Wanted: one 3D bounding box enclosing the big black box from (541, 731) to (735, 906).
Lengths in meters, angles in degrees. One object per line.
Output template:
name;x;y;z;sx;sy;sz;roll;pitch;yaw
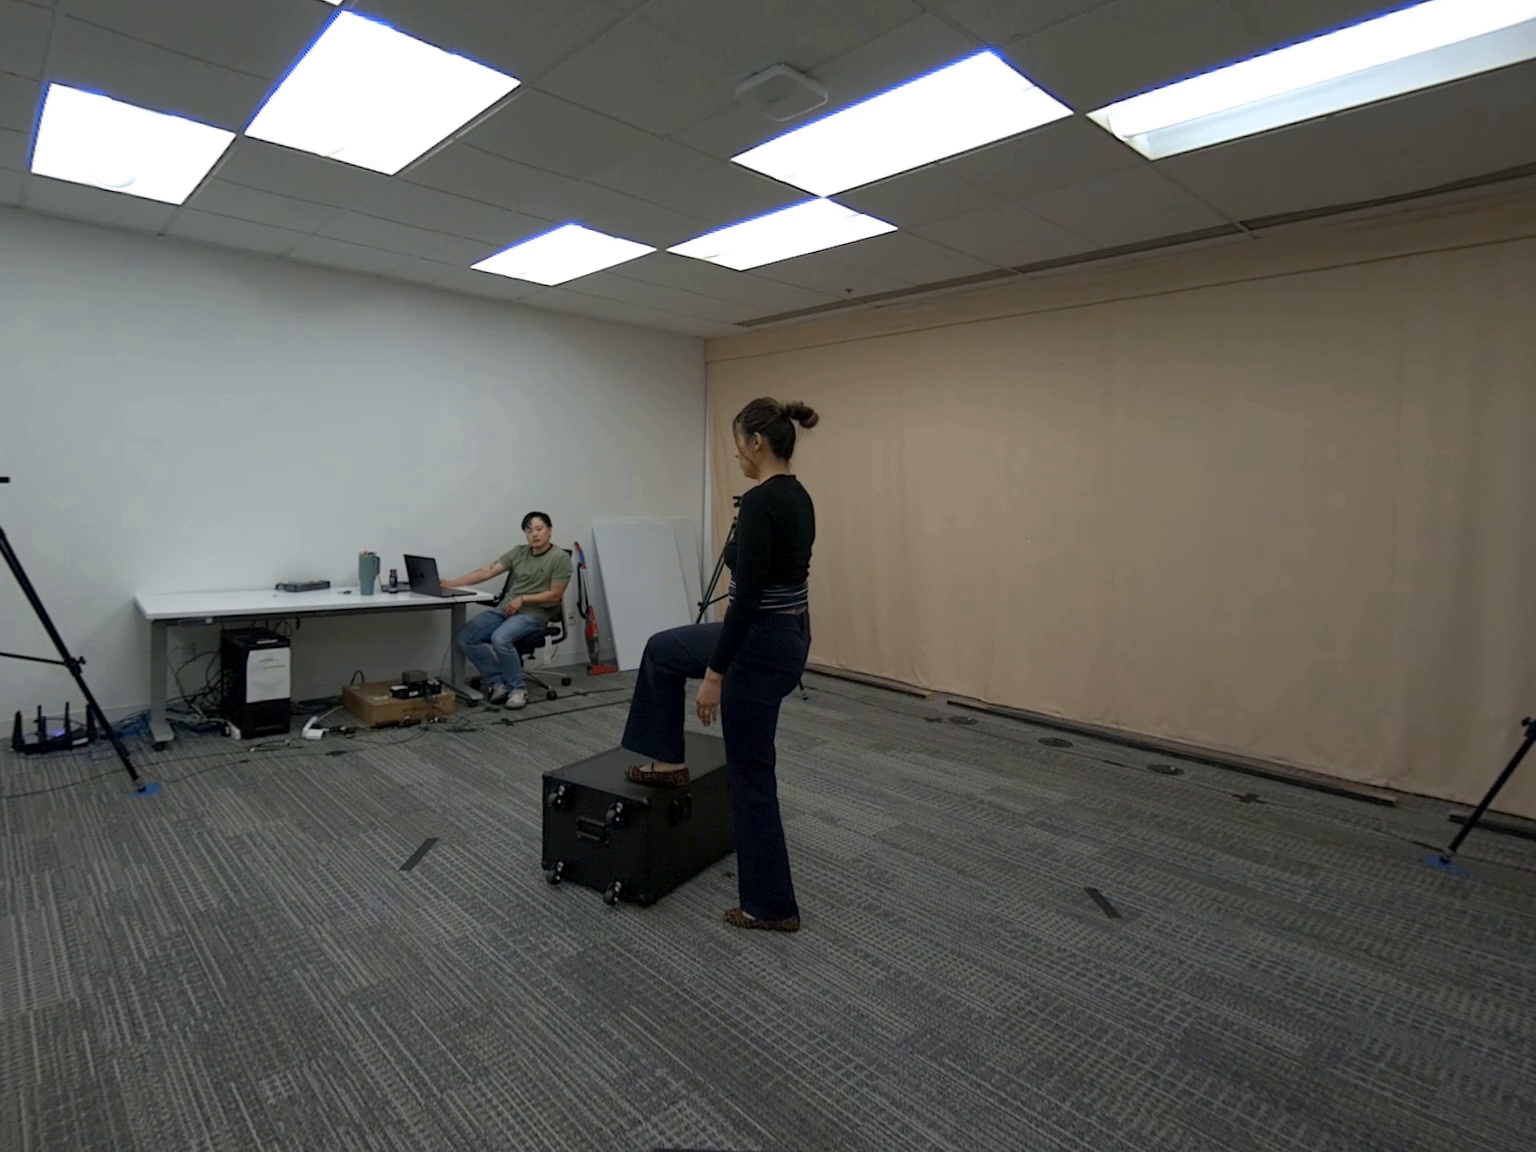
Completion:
big black box;-0.446;0.898;3.232;0.533;0.395;0.845;5;6;30
